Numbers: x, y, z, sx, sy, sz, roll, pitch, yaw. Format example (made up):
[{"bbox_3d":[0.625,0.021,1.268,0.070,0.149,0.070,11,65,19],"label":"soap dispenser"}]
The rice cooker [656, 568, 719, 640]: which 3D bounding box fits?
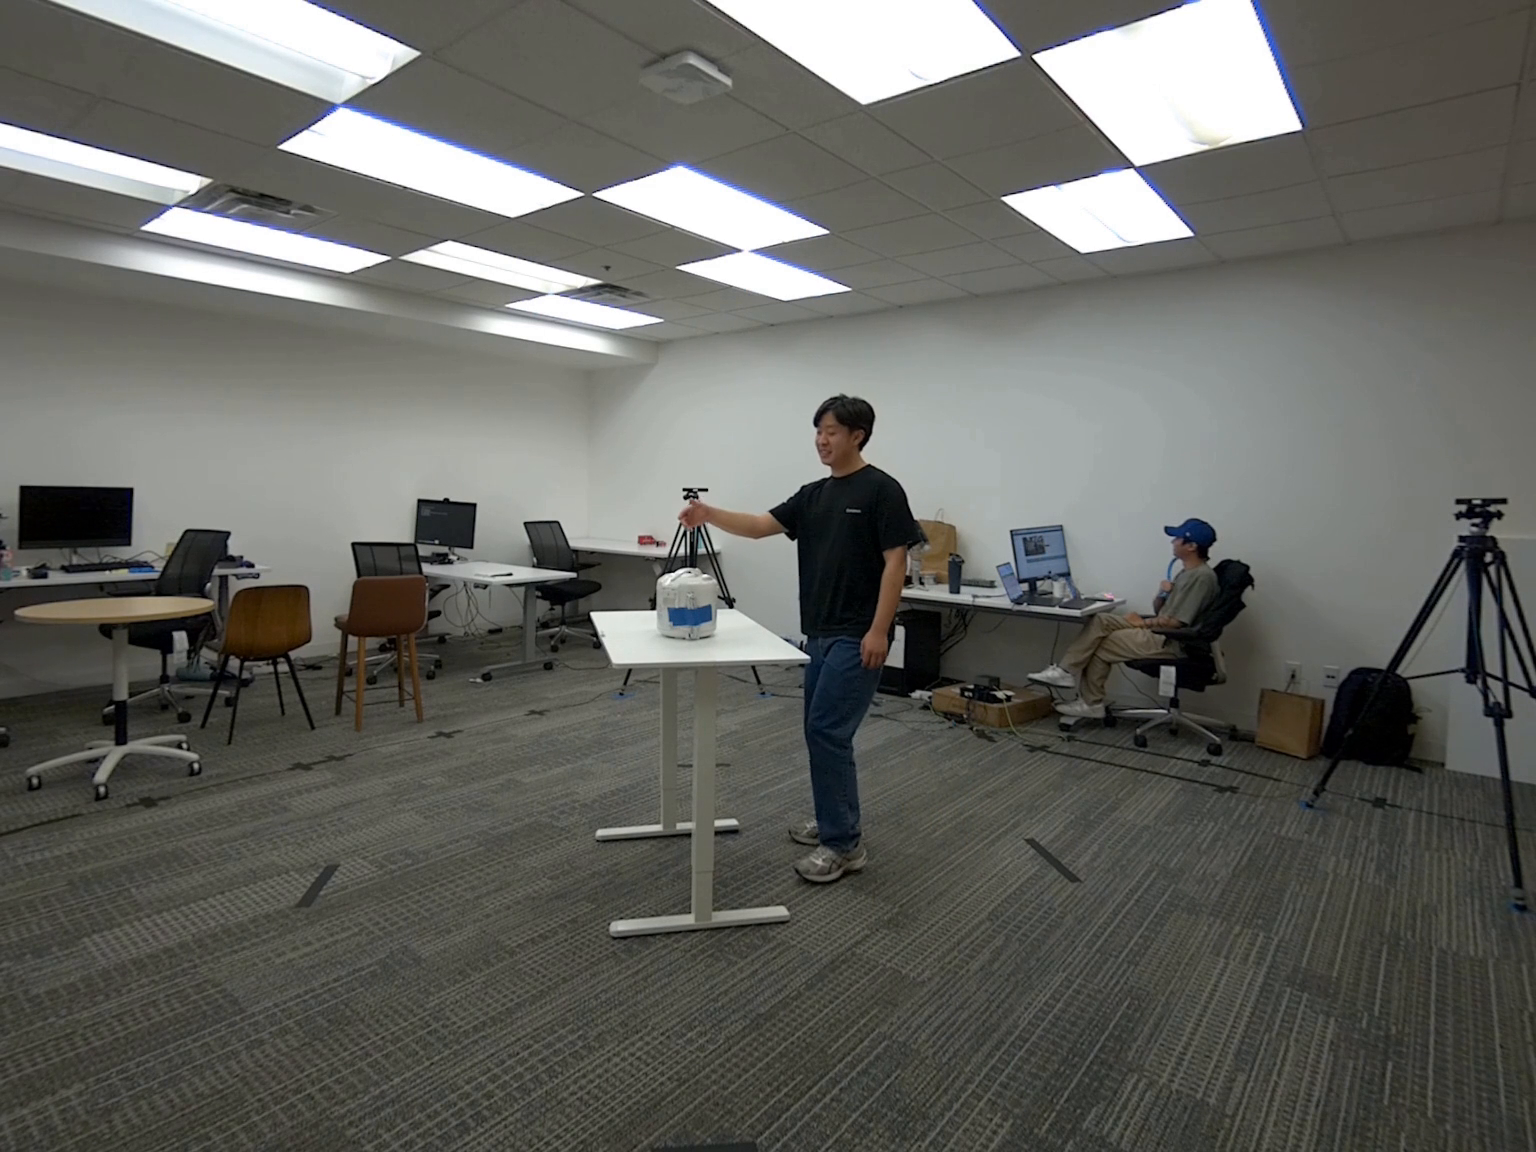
[{"bbox_3d":[-0.295,0.088,2.932,0.224,0.232,0.215,5,6,29],"label":"rice cooker"}]
